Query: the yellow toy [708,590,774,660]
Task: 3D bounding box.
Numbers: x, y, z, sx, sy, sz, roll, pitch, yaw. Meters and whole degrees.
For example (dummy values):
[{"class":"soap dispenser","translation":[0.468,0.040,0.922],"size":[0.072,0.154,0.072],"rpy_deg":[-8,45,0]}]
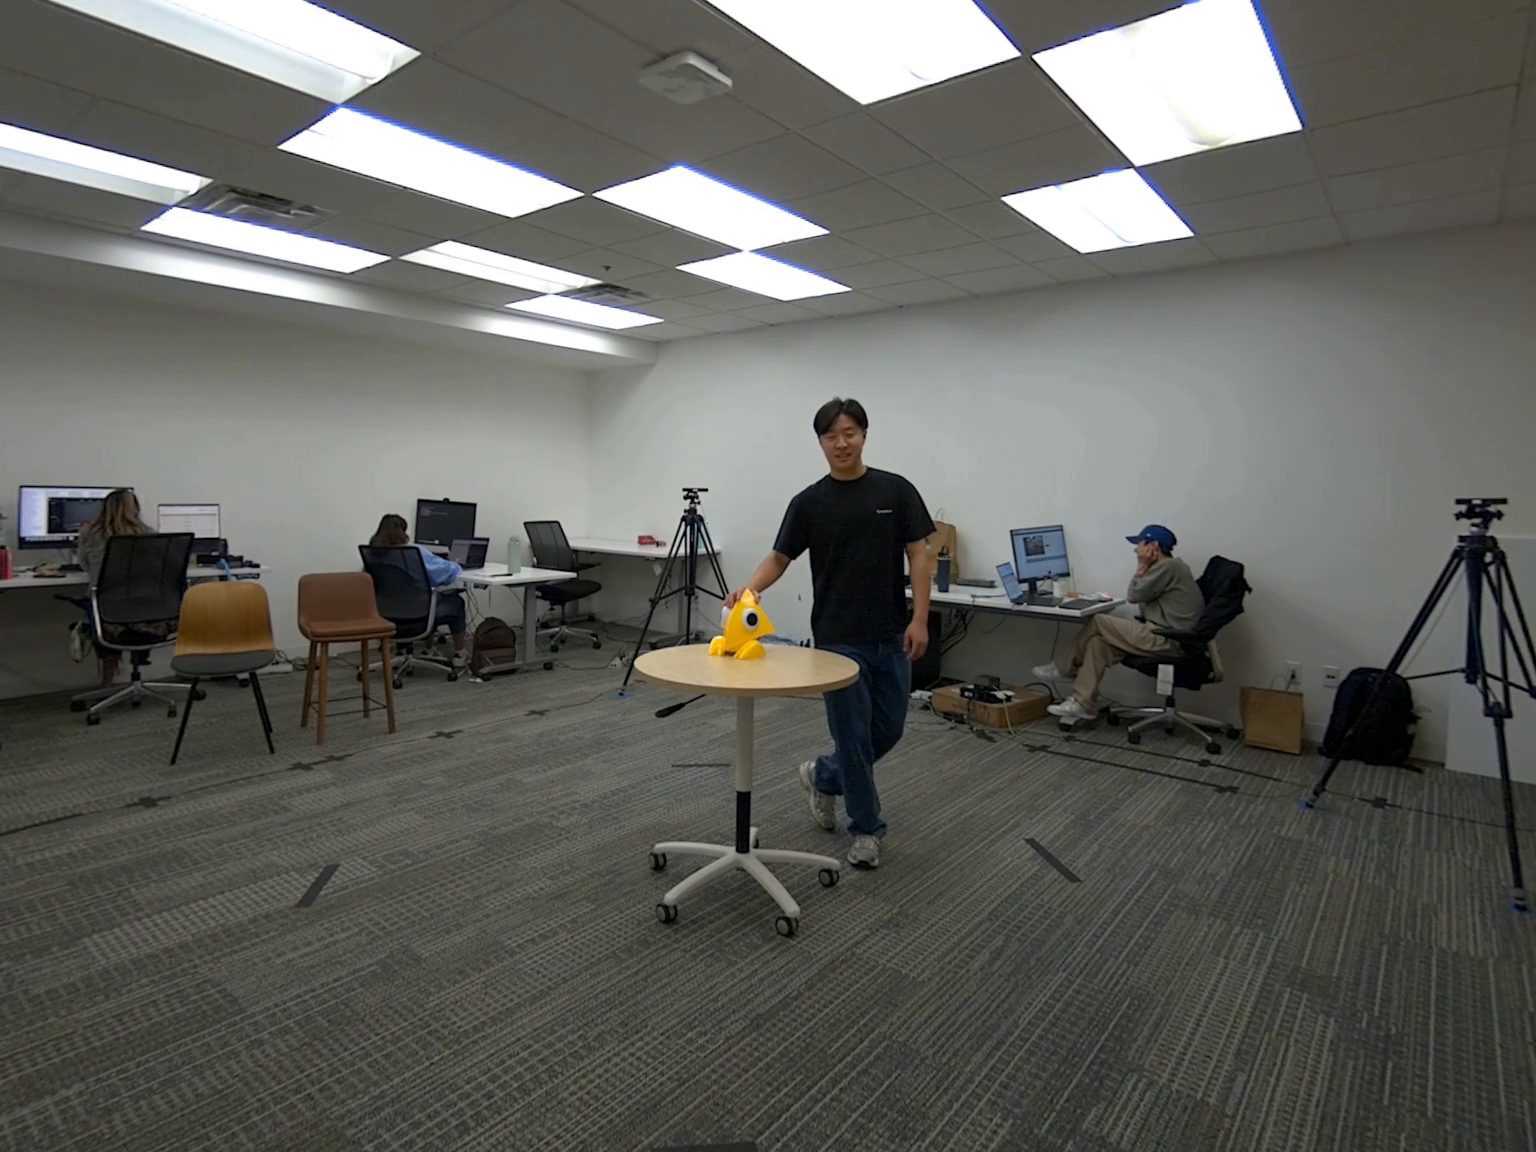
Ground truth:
[{"class":"yellow toy","translation":[-0.116,0.162,3.076],"size":[0.211,0.230,0.188],"rpy_deg":[3,5,30]}]
